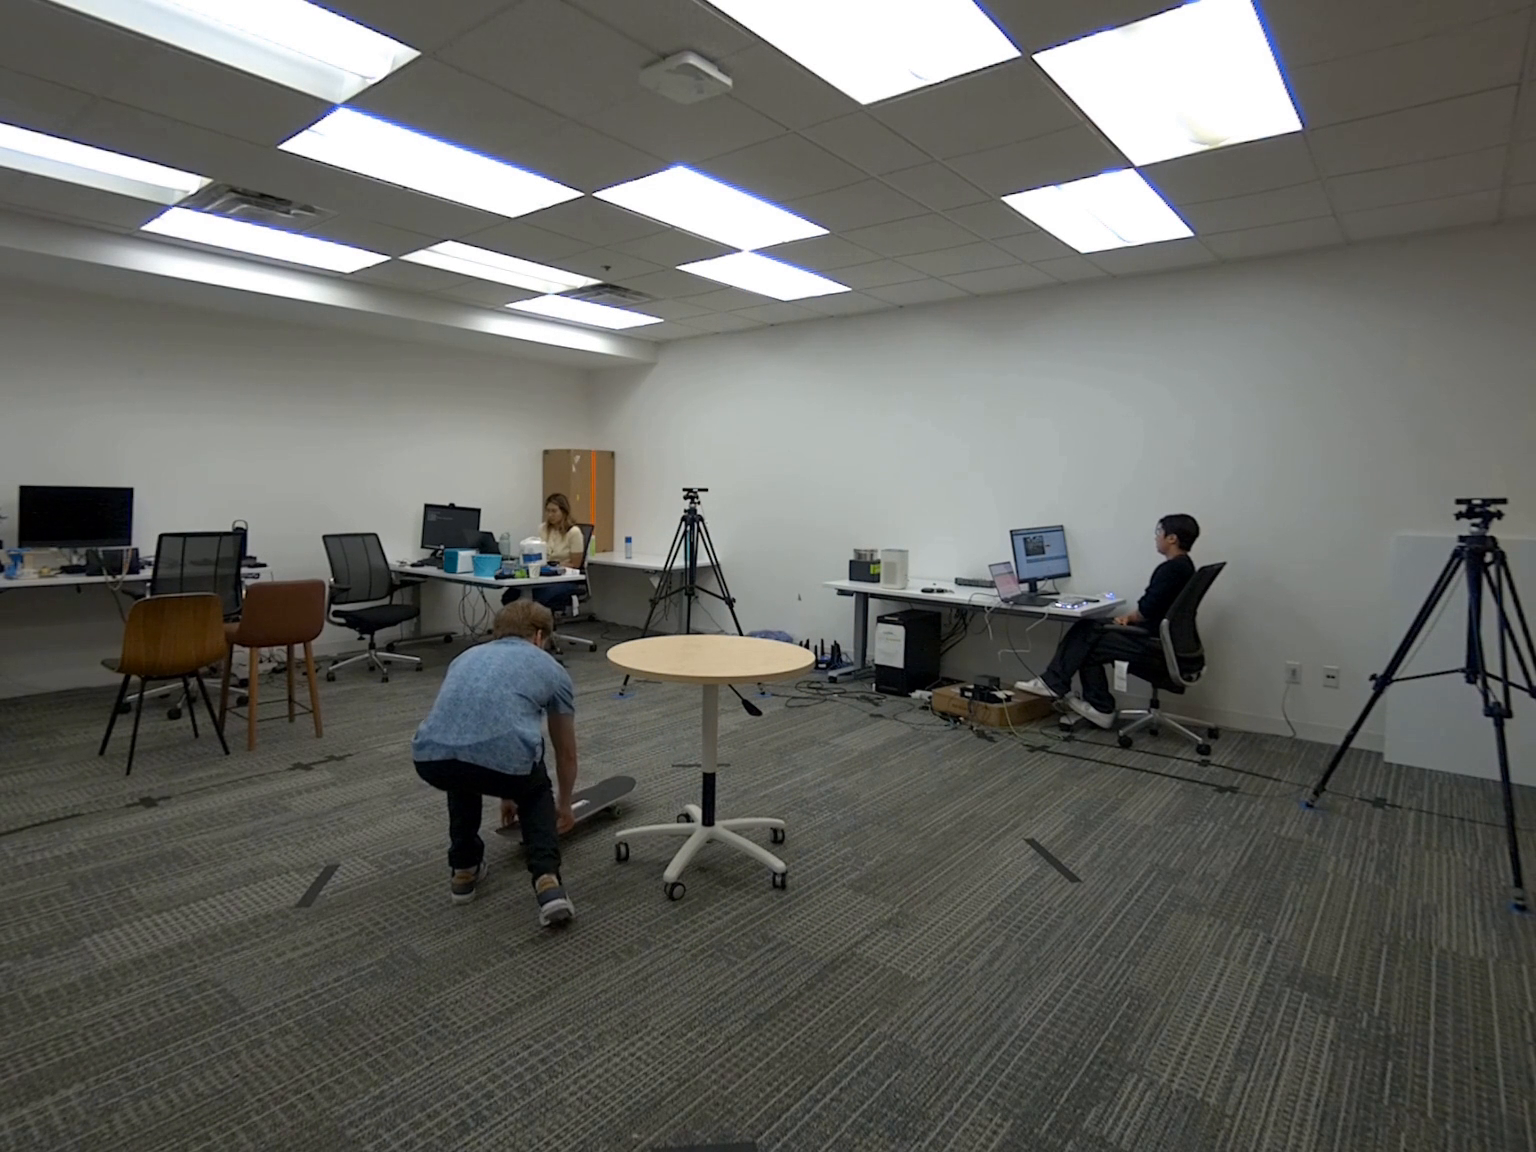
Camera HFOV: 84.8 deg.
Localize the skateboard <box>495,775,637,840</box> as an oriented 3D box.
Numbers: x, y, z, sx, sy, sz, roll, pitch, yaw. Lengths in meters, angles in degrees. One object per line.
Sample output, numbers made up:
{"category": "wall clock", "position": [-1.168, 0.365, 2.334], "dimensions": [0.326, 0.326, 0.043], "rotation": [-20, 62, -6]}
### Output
{"category": "skateboard", "position": [-0.807, 0.973, 3.449], "dimensions": [0.199, 0.110, 0.767], "rotation": [3, 6, 26]}
